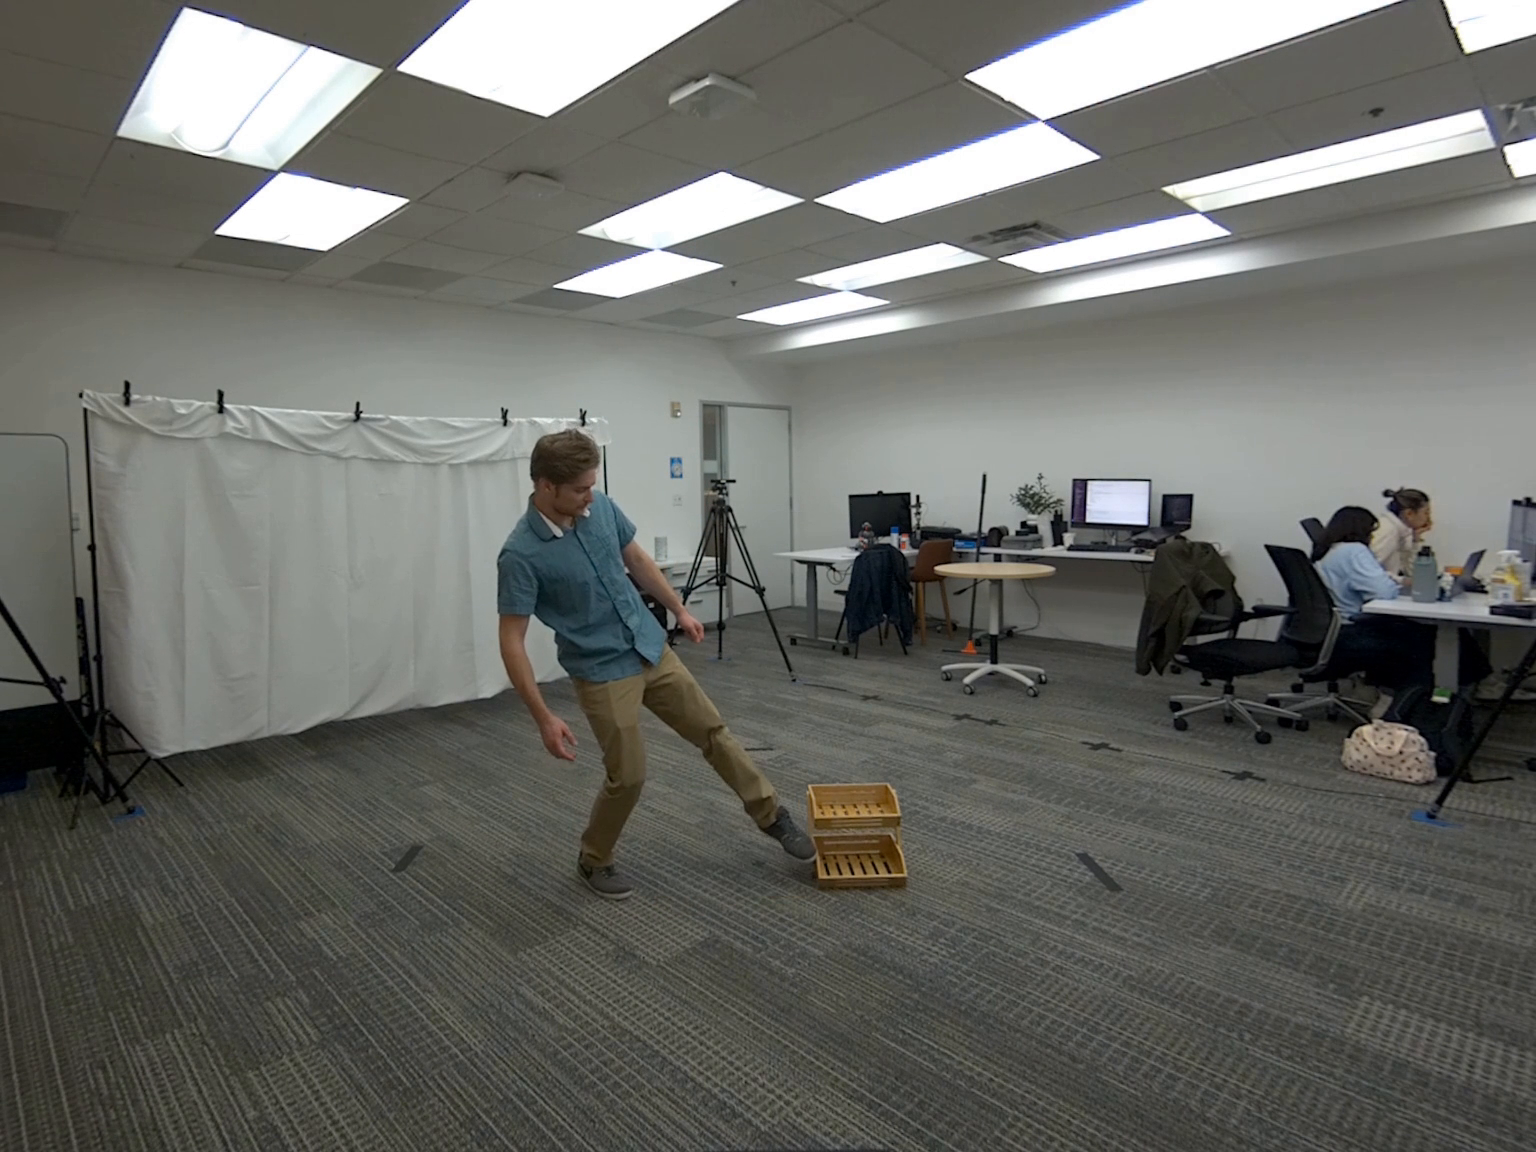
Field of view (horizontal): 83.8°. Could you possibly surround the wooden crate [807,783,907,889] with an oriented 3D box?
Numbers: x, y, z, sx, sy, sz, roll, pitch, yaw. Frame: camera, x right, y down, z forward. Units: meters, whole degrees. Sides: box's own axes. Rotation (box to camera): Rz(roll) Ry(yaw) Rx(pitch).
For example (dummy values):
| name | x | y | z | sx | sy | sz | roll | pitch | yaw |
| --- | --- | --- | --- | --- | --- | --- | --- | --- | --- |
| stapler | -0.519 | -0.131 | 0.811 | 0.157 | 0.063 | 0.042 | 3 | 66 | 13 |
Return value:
| name | x | y | z | sx | sy | sz | roll | pitch | yaw |
| --- | --- | --- | --- | --- | --- | --- | --- | --- | --- |
| wooden crate | 0.311 | 0.912 | 3.025 | 0.324 | 0.272 | 0.304 | -2 | 4 | -3 |
